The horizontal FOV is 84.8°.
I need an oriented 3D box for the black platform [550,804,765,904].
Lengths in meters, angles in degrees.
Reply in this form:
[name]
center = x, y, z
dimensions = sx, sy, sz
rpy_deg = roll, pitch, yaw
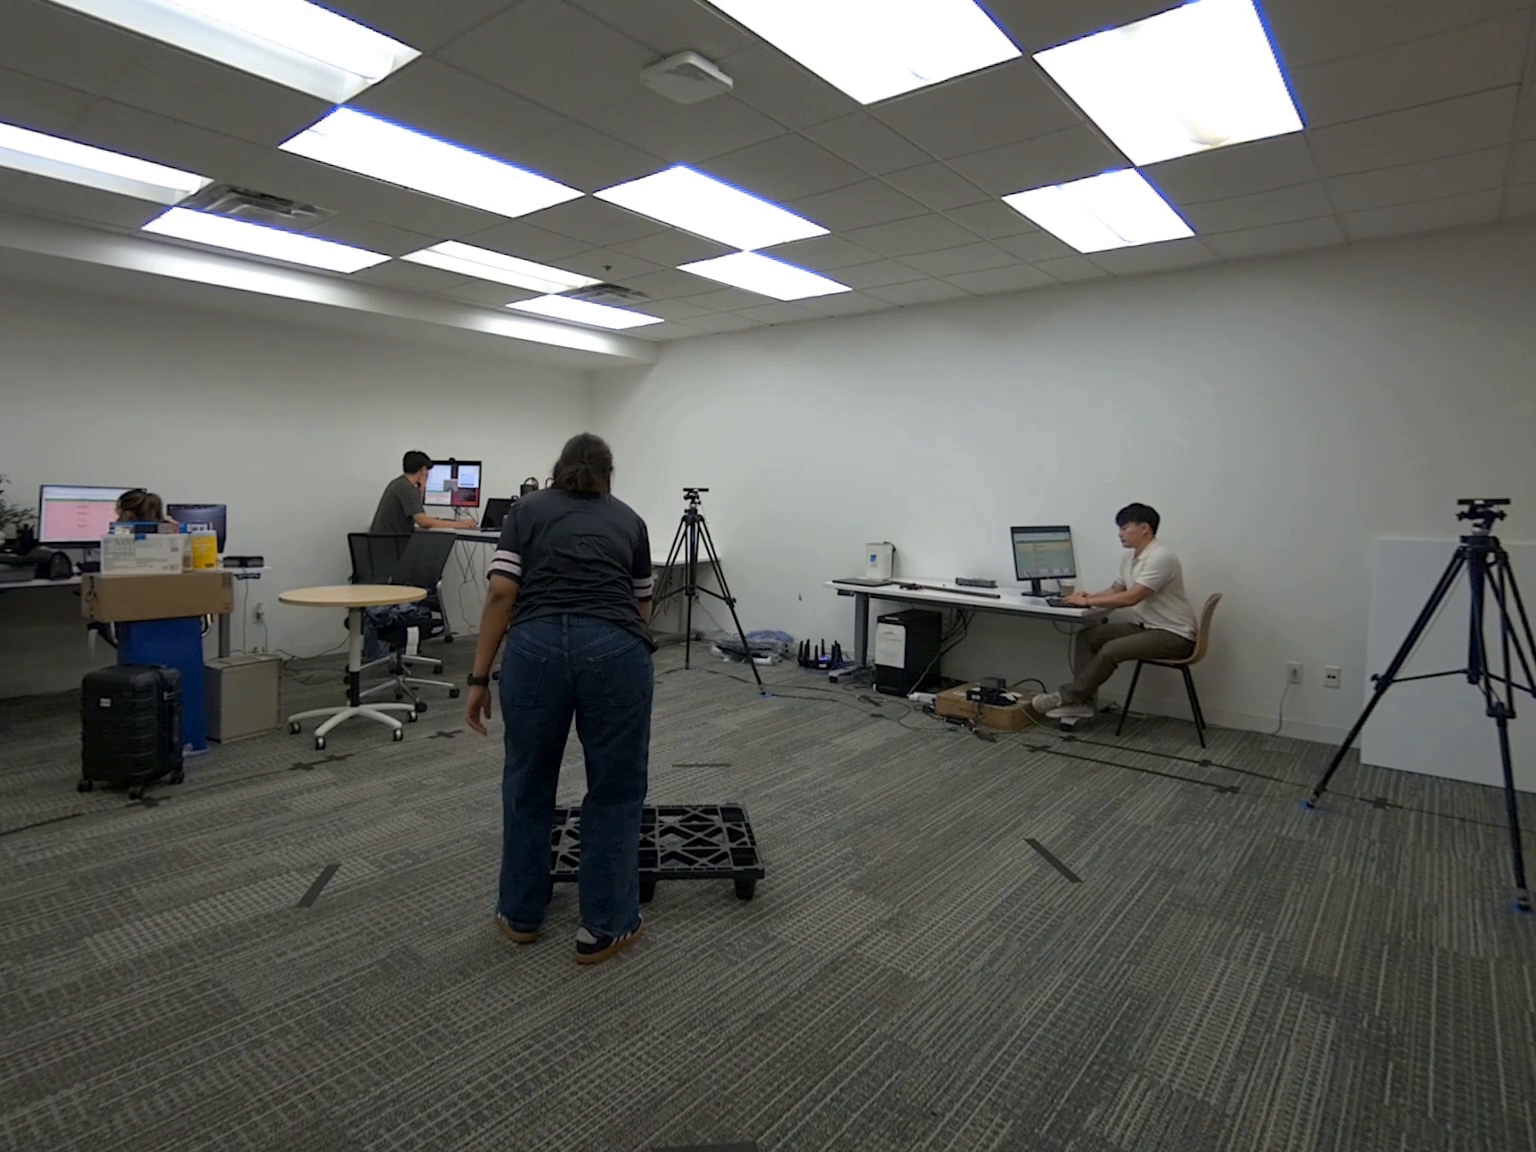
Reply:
[black platform]
center = -0.448, 1.003, 3.079
dimensions = 0.801, 0.142, 0.612
rpy_deg = 0, 6, -6
